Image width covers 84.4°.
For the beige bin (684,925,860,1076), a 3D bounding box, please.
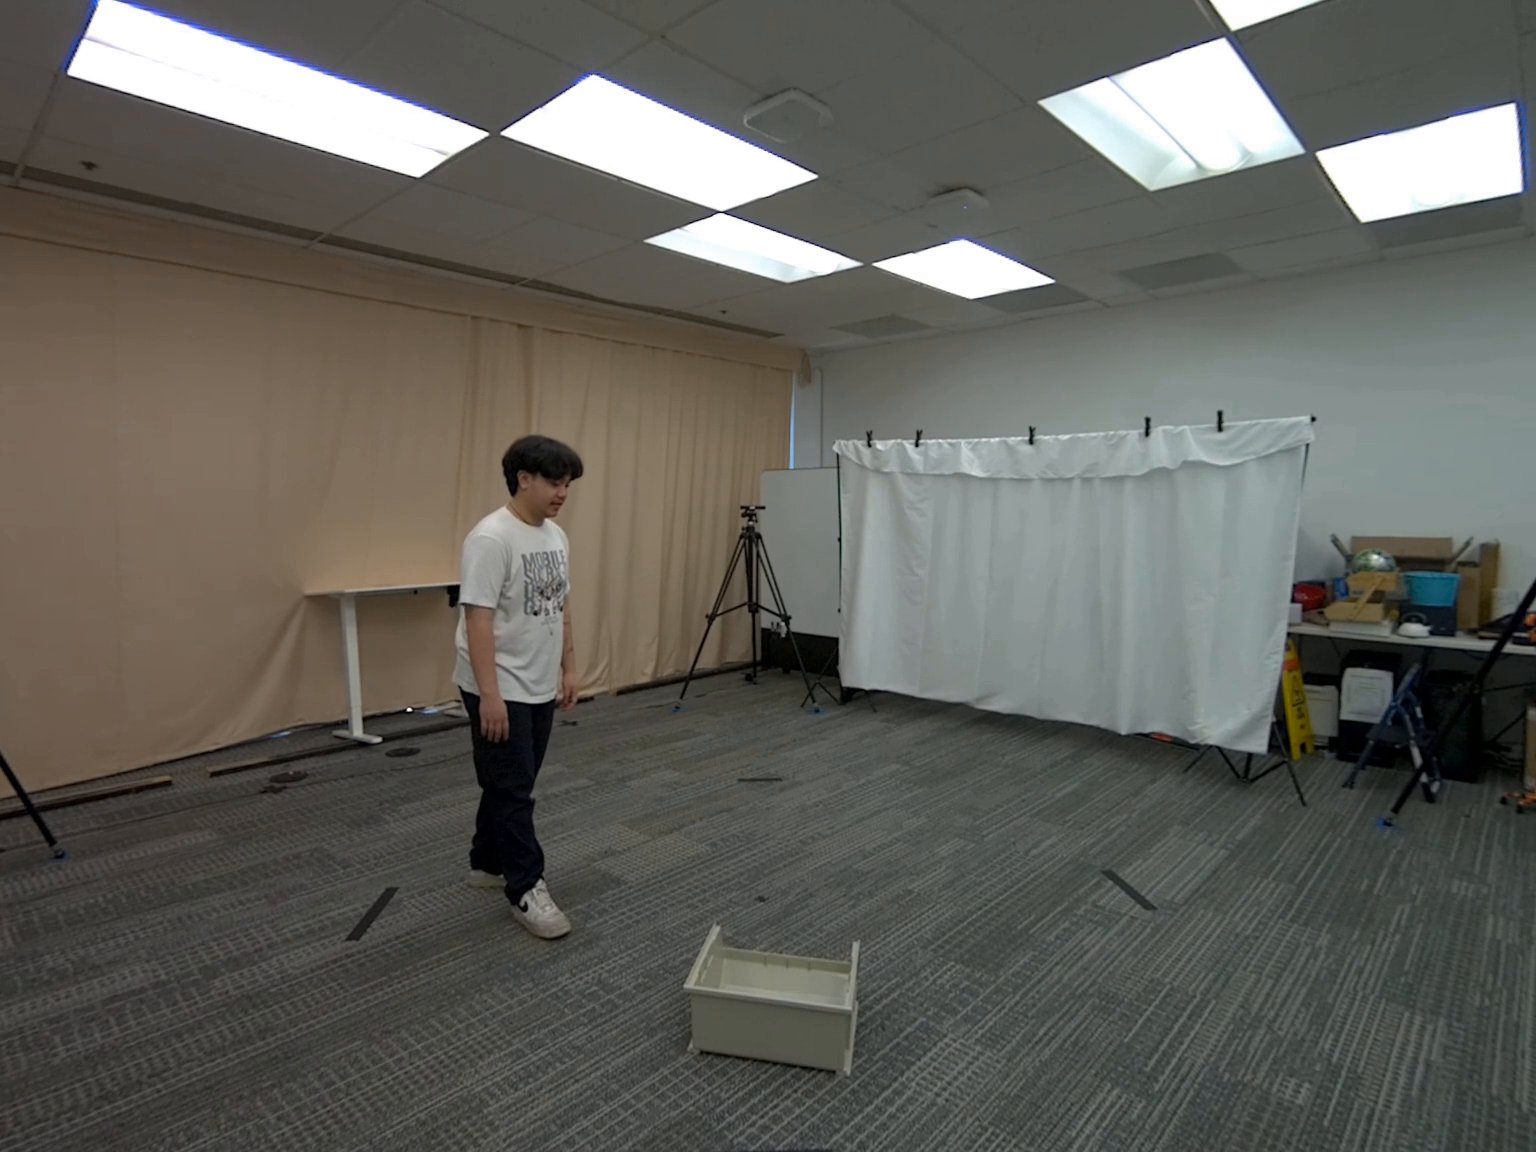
[{"bbox_3d":[0.029,1.118,2.260,0.428,0.188,0.373,1,5,11],"label":"beige bin"}]
